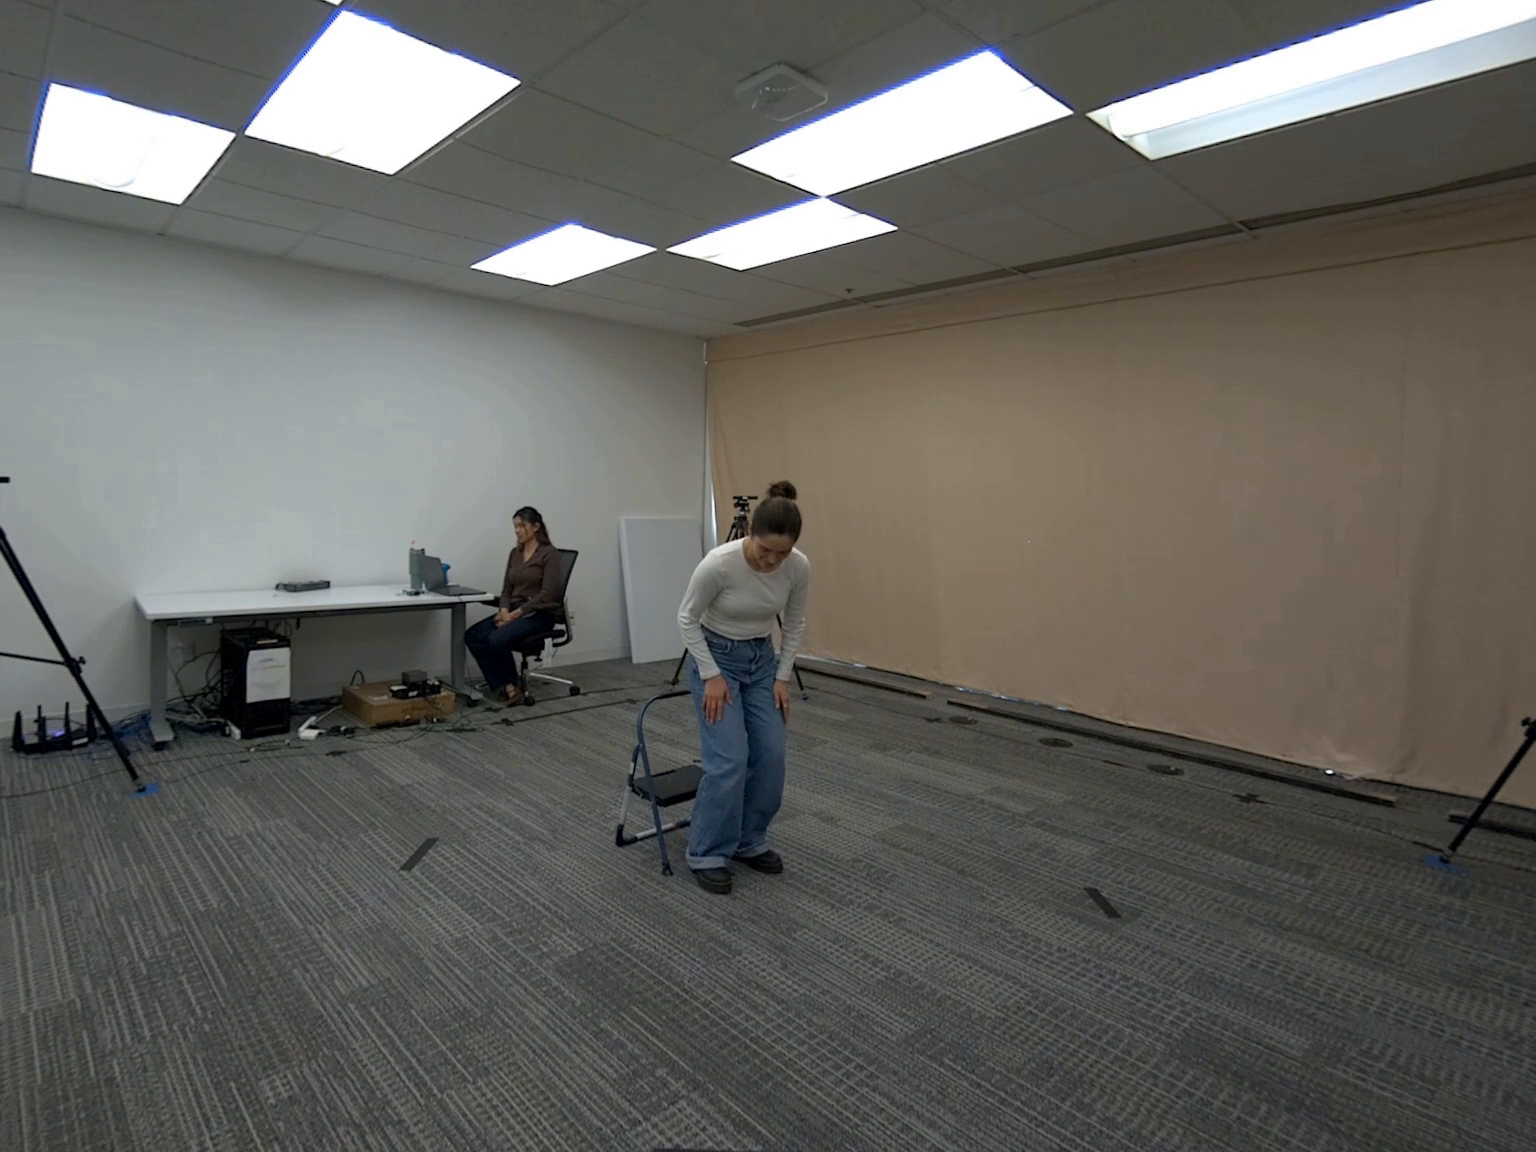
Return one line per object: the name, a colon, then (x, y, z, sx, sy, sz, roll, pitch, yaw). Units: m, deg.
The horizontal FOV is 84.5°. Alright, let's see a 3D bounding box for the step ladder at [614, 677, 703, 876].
step ladder: (-0.340, 0.772, 3.335, 0.421, 0.604, 0.358, -2, 5, -44)
